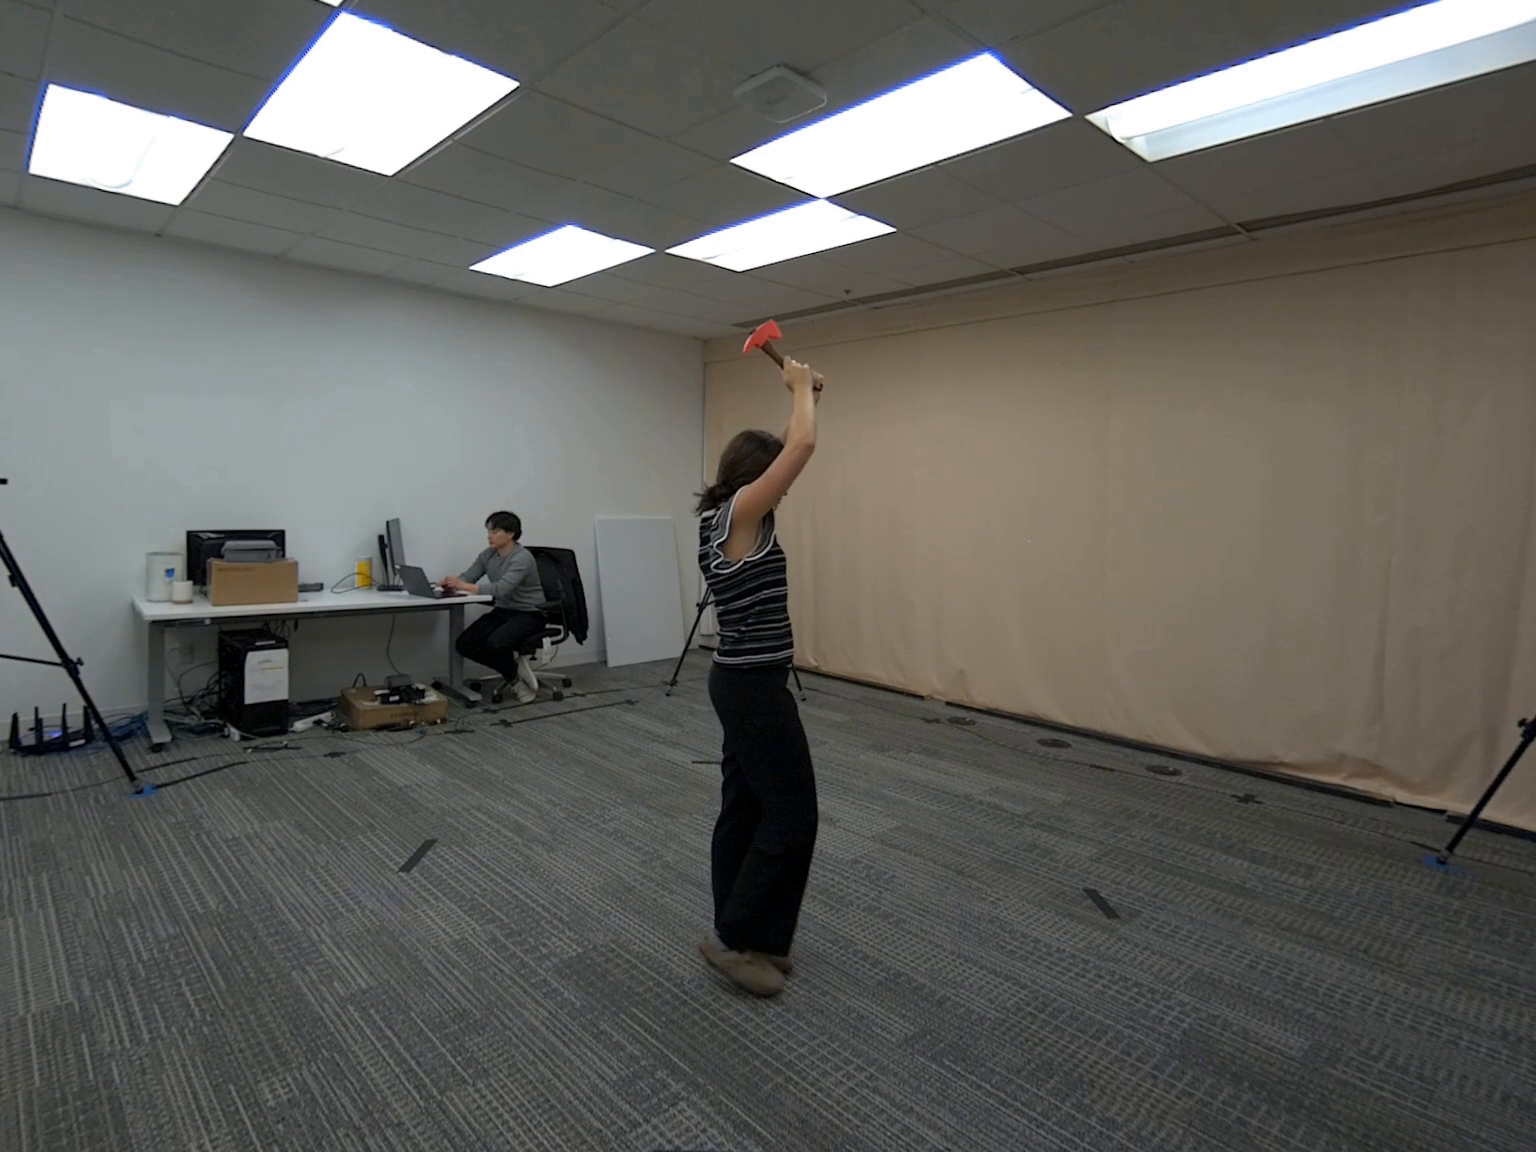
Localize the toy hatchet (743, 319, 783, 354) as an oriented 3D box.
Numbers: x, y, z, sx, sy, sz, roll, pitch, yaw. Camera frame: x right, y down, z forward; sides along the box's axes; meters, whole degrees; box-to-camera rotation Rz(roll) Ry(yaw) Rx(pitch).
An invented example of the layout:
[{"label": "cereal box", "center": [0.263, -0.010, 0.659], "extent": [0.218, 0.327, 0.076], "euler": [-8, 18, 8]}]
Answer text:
[{"label": "toy hatchet", "center": [0.057, -0.657, 2.471], "extent": [0.266, 0.131, 0.030], "euler": [23, -8, -16]}]
